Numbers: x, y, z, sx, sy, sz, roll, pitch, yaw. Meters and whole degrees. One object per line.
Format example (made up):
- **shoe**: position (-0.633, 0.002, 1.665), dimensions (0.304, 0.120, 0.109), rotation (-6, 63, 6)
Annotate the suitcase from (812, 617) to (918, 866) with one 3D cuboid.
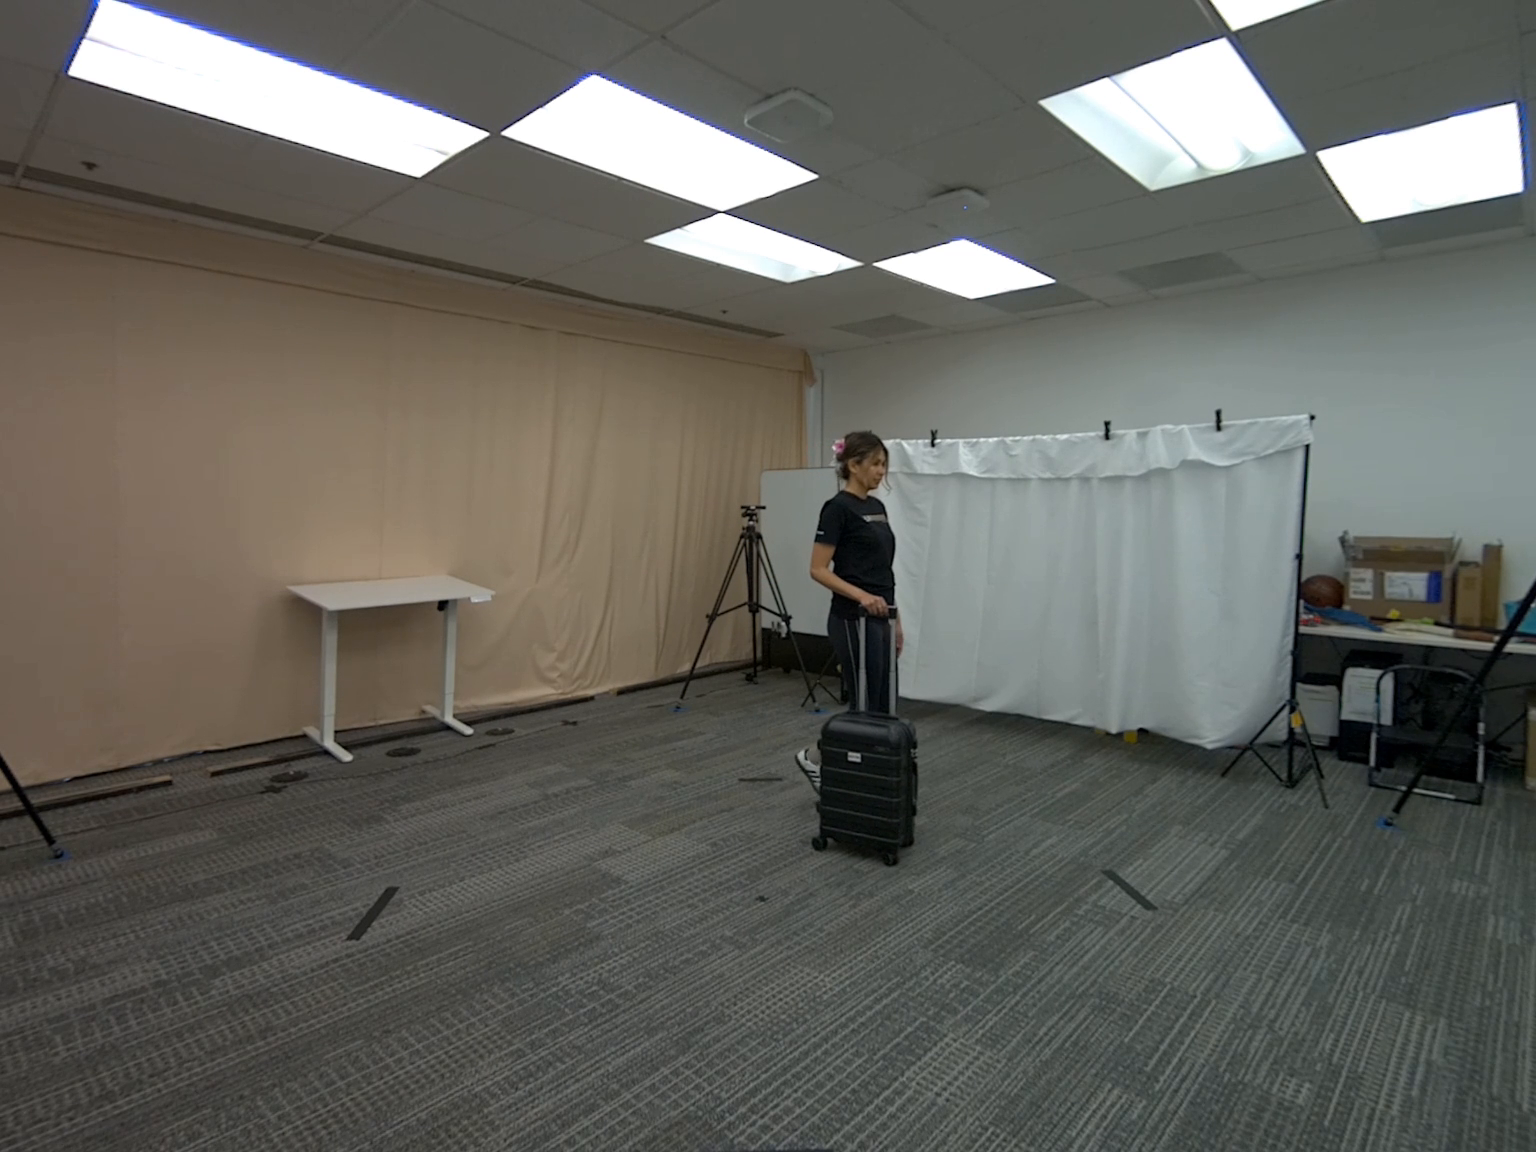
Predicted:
- **suitcase**: position (0.406, 0.636, 3.378), dimensions (0.395, 0.974, 0.250), rotation (5, 8, 30)
